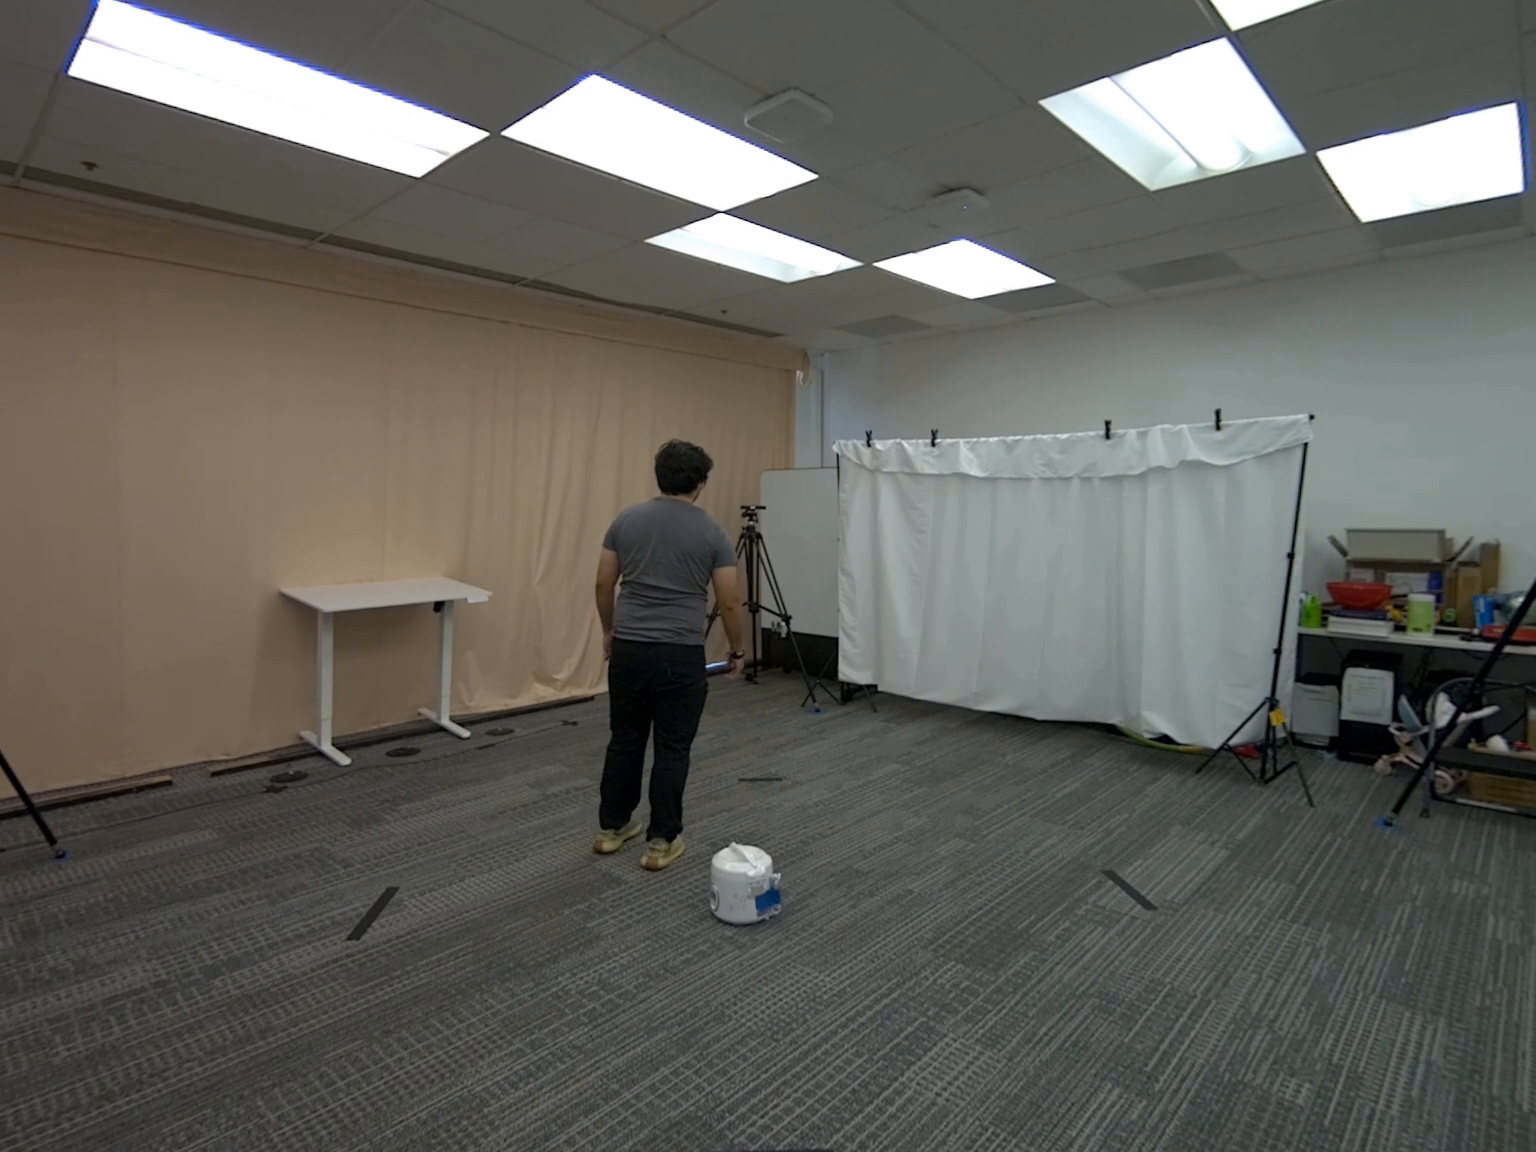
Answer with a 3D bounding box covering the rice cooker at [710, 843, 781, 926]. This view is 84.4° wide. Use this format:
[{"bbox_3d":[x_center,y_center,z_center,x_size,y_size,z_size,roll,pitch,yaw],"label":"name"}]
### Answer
[{"bbox_3d":[-0.086,1.036,2.866,0.212,0.232,0.227,-1,3,-28],"label":"rice cooker"}]
